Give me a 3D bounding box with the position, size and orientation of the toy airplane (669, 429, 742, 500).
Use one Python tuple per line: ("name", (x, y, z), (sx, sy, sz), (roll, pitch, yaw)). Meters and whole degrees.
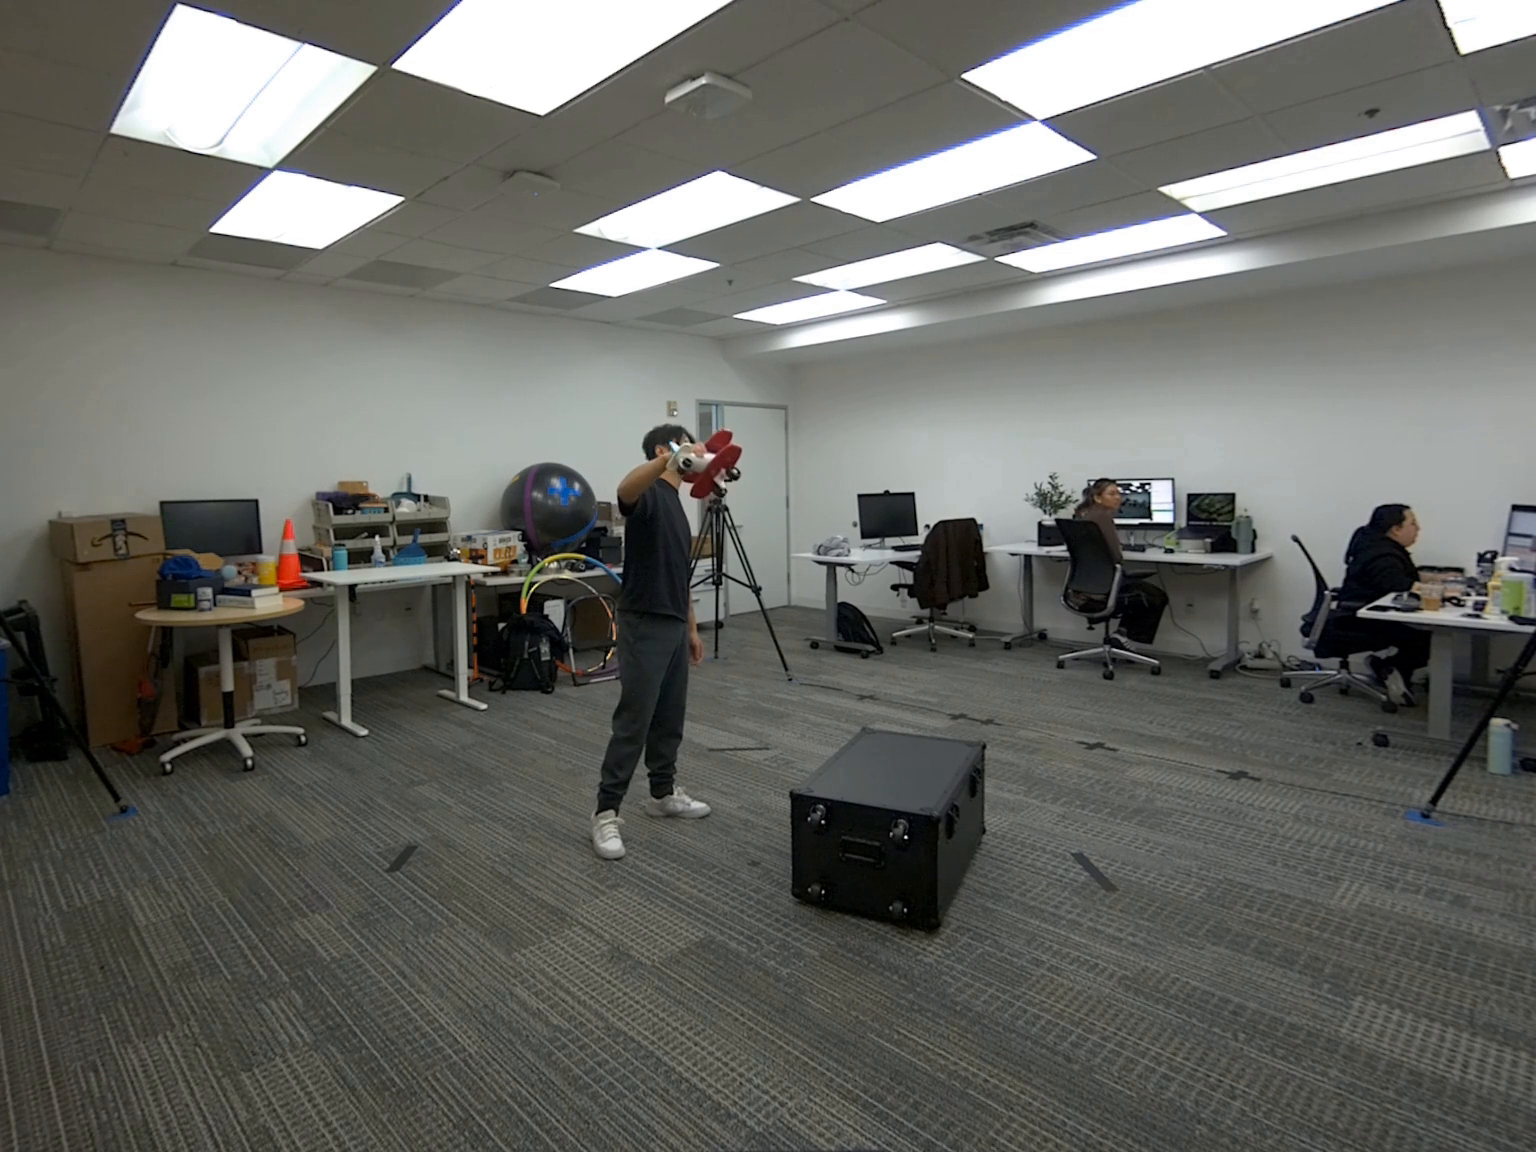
("toy airplane", (-0.211, -0.392, 2.918), (0.252, 0.162, 0.249), (-27, -44, 10))
